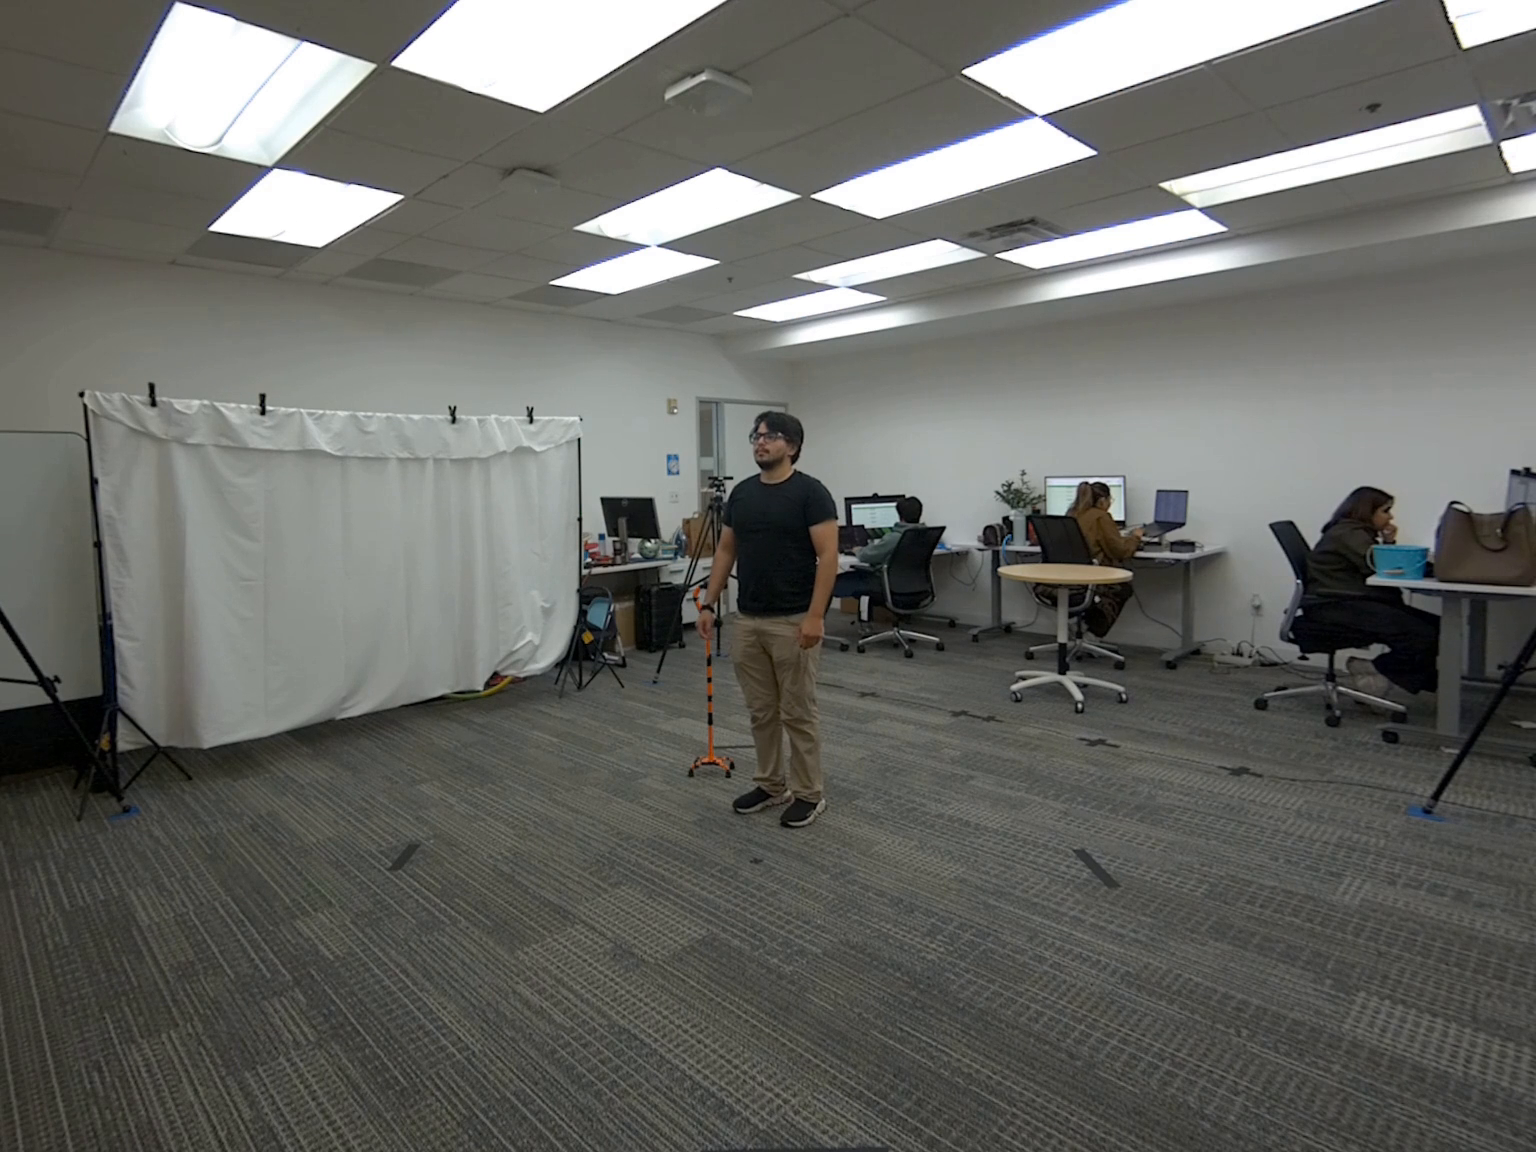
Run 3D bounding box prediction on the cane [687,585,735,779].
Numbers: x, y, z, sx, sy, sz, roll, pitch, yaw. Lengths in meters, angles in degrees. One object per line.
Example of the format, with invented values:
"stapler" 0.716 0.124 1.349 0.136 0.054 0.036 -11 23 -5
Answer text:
"cane" -0.274 0.485 4.043 0.208 0.906 0.151 -1 3 7
